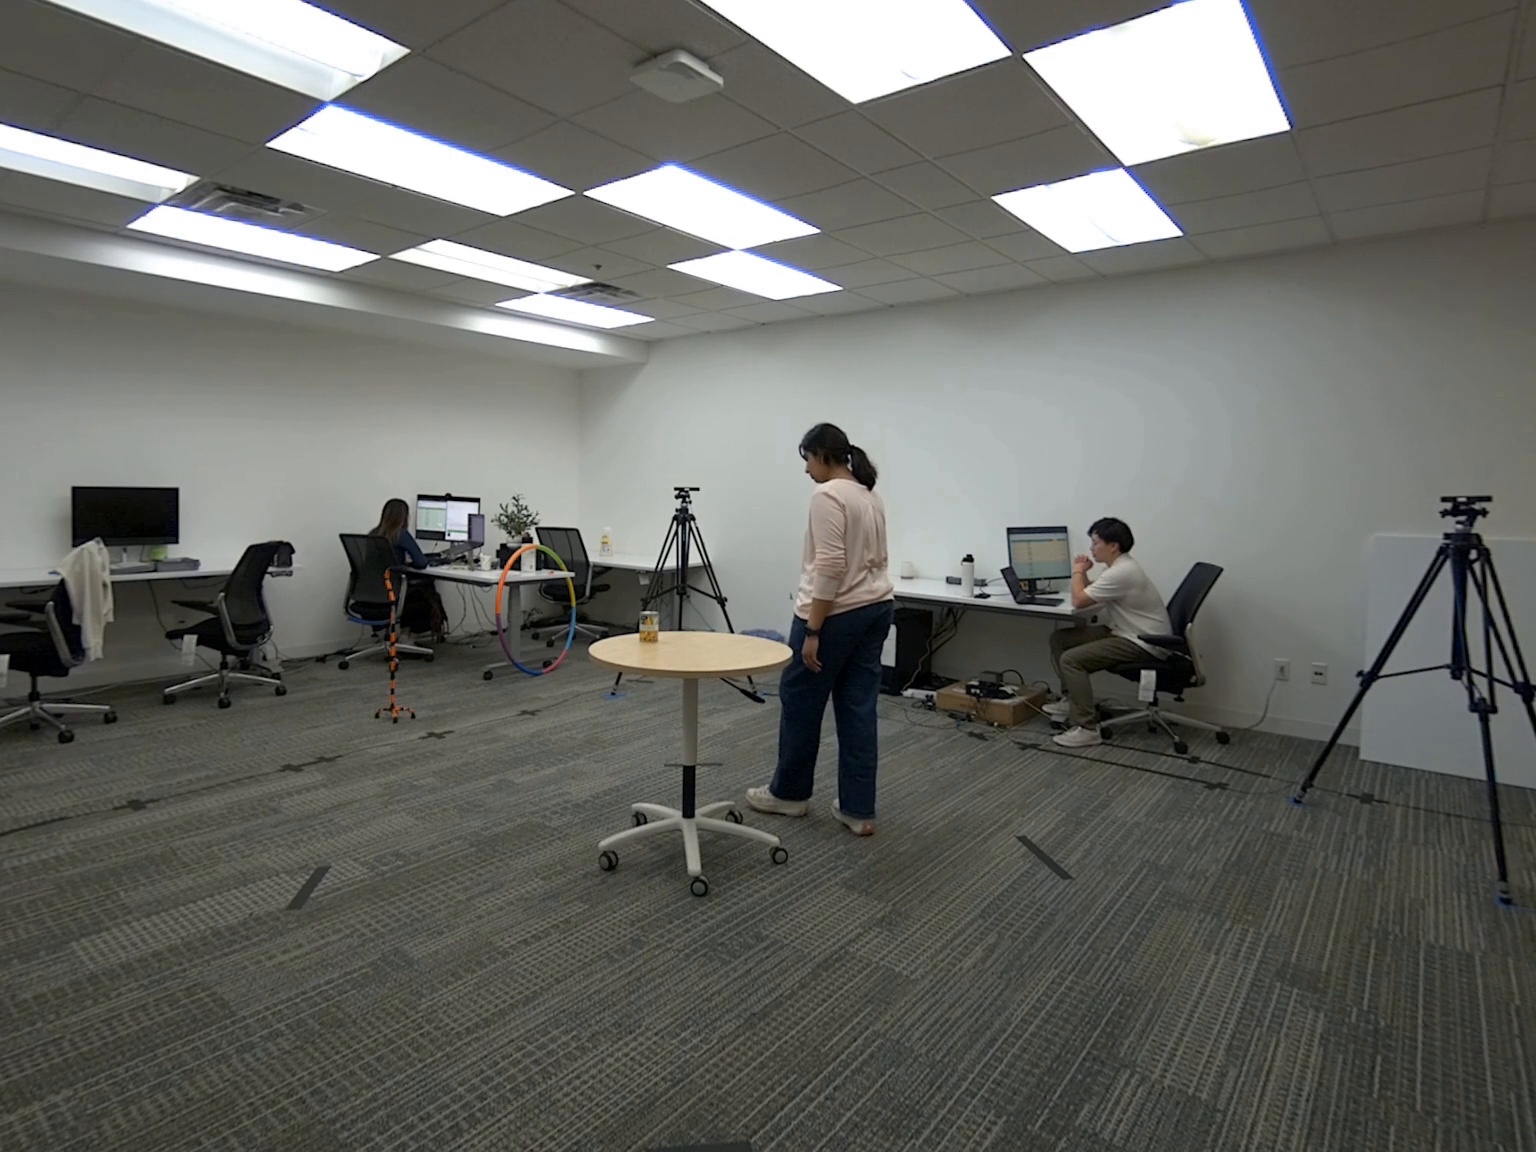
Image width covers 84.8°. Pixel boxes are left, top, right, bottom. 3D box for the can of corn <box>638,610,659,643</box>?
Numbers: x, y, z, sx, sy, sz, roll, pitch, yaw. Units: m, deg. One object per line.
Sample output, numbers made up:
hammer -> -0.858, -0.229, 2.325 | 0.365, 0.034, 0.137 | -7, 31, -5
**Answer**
can of corn -> -0.482, 0.197, 3.358 | 0.074, 0.111, 0.074 | 2, 2, -2
